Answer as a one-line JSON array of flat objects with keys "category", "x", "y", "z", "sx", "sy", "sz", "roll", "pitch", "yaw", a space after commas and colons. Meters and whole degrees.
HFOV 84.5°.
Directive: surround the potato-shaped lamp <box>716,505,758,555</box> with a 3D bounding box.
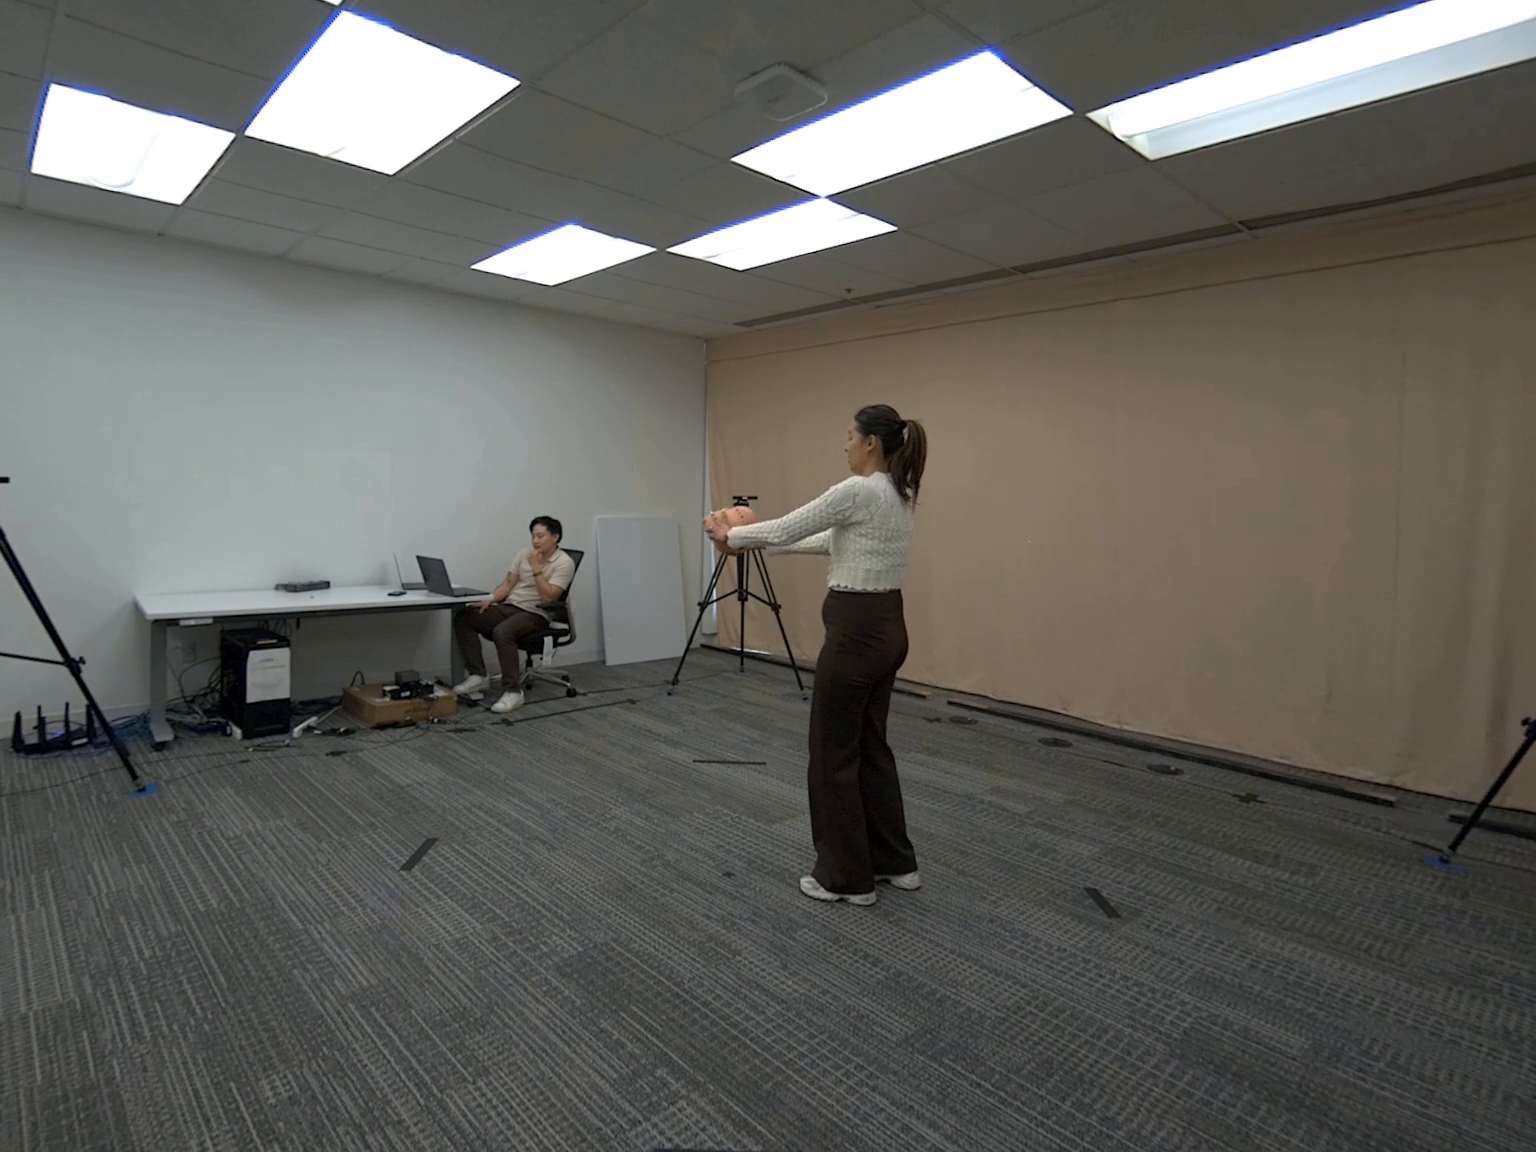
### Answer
[{"category": "potato-shaped lamp", "x": -0.136, "y": -0.178, "z": 3.225, "sx": 0.198, "sy": 0.170, "sz": 0.166, "roll": -31, "pitch": -36, "yaw": -4}]
